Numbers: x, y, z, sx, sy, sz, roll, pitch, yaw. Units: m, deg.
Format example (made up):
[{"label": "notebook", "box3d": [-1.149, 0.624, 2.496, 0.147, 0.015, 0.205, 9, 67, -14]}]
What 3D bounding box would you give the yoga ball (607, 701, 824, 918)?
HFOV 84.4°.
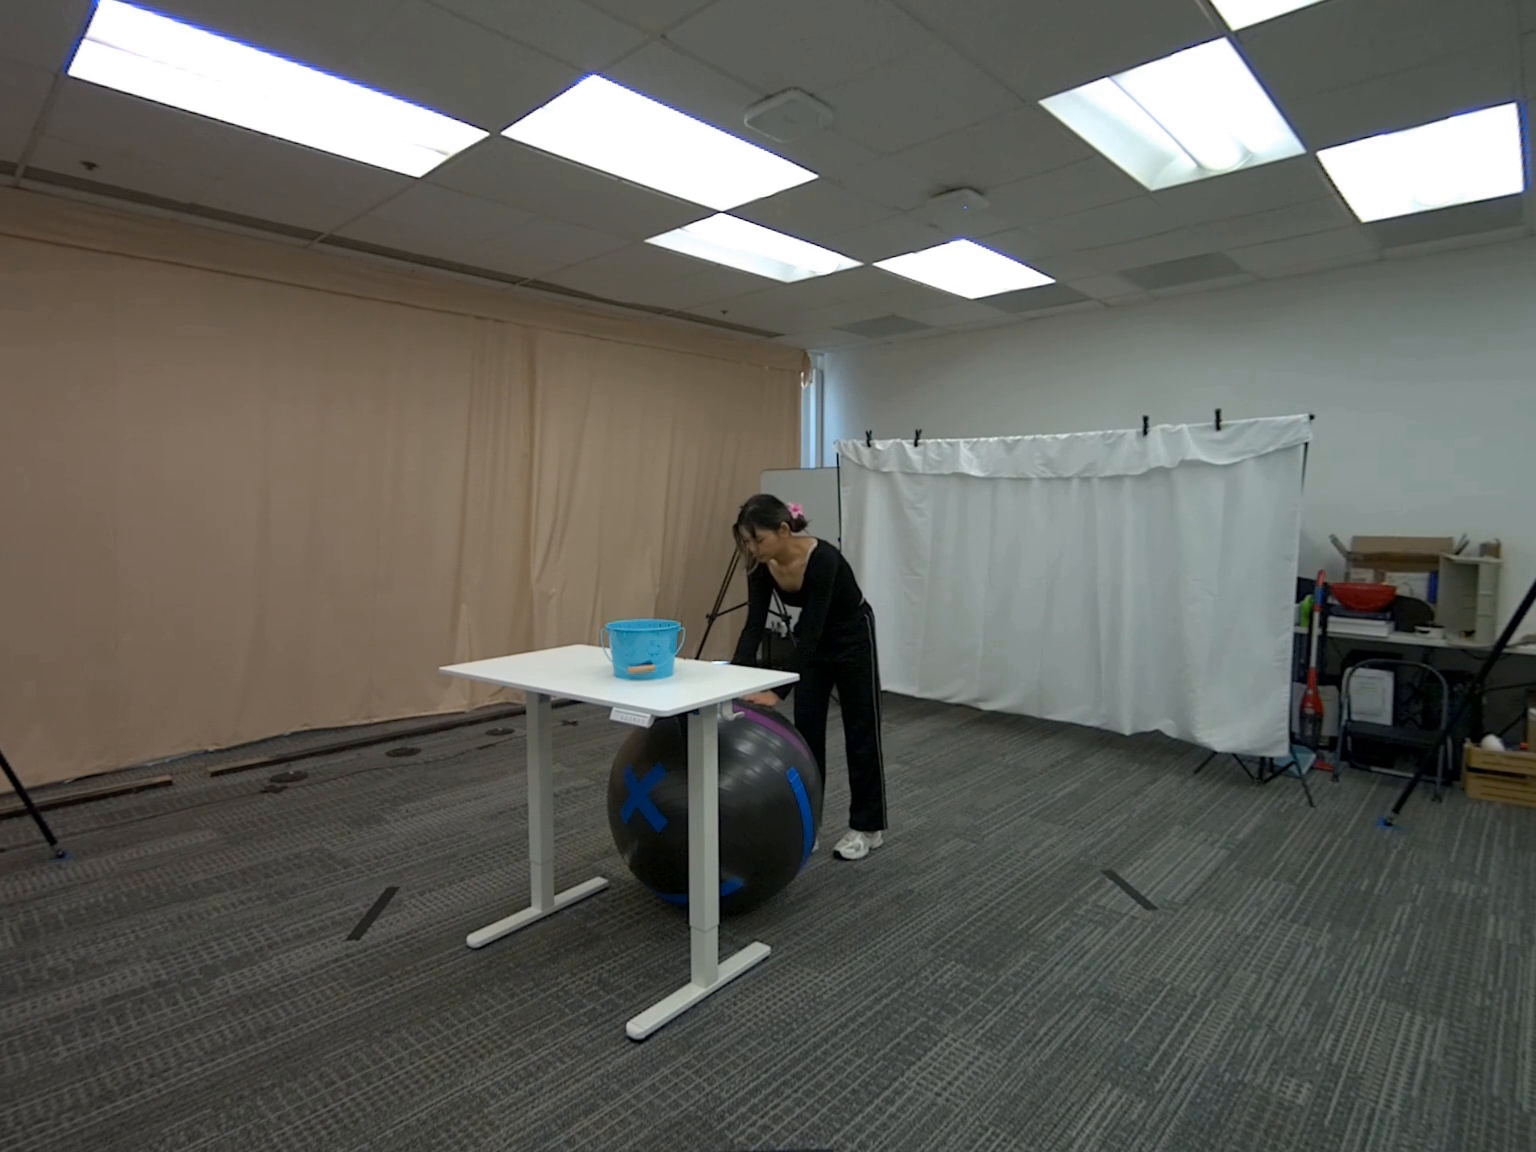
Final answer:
[{"label": "yoga ball", "box3d": [-0.192, 0.782, 2.976, 0.757, 0.756, 0.761, 0, 4, -2]}]
